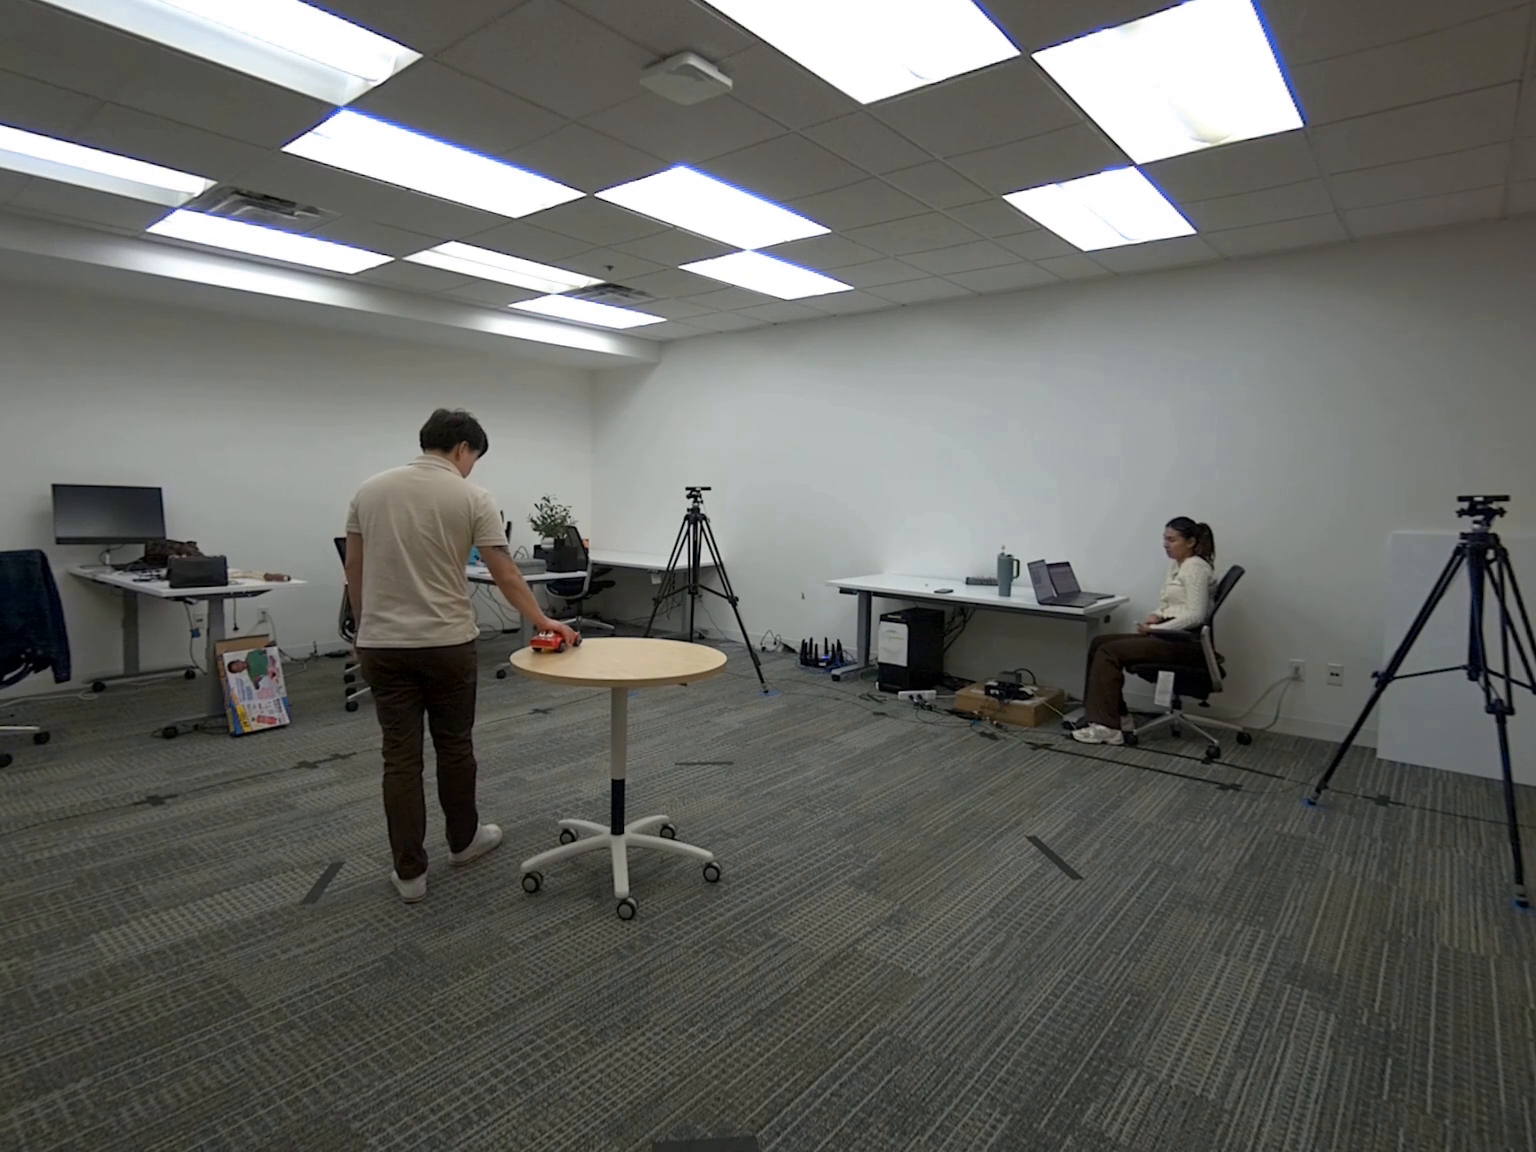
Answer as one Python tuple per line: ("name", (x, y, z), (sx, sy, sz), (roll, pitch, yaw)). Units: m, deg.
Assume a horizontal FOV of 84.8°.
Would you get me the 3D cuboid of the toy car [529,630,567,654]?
("toy car", (-0.802, 0.239, 3.133), (0.132, 0.084, 0.249), (2, -8, 12))
